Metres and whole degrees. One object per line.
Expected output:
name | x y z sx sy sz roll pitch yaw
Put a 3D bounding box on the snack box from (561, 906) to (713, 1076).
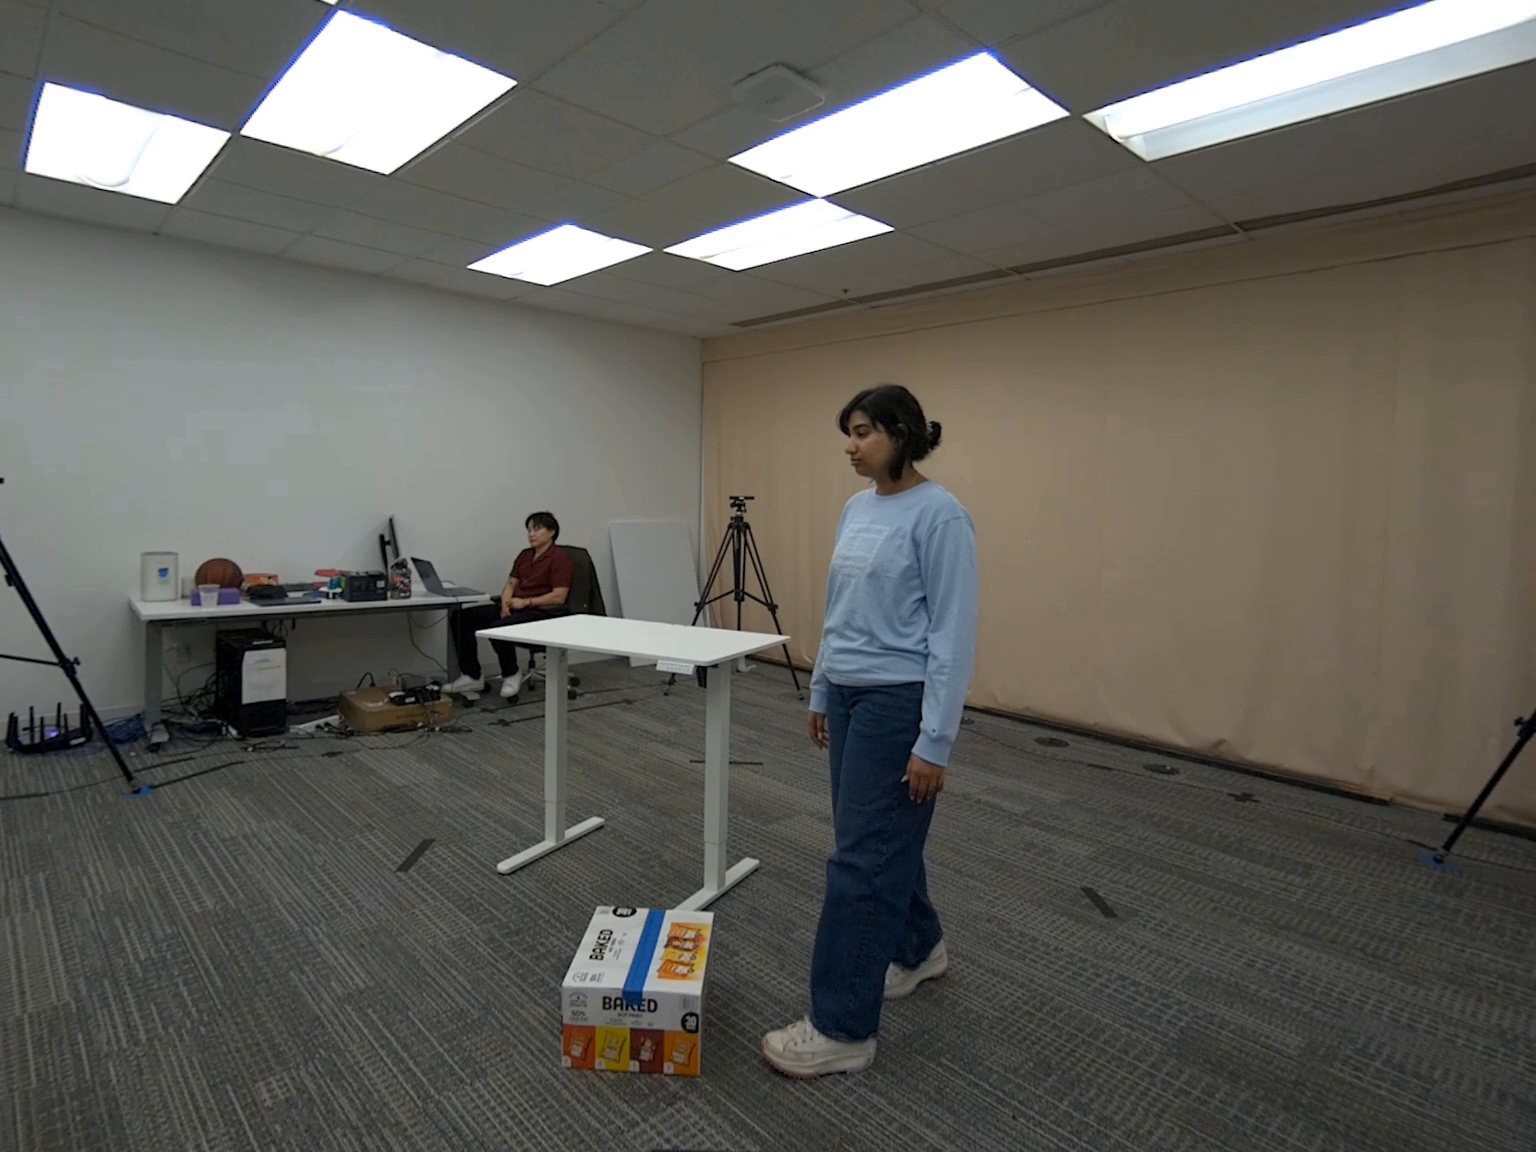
snack box | -0.329 1.075 2.230 0.341 0.205 0.405 2 5 2
